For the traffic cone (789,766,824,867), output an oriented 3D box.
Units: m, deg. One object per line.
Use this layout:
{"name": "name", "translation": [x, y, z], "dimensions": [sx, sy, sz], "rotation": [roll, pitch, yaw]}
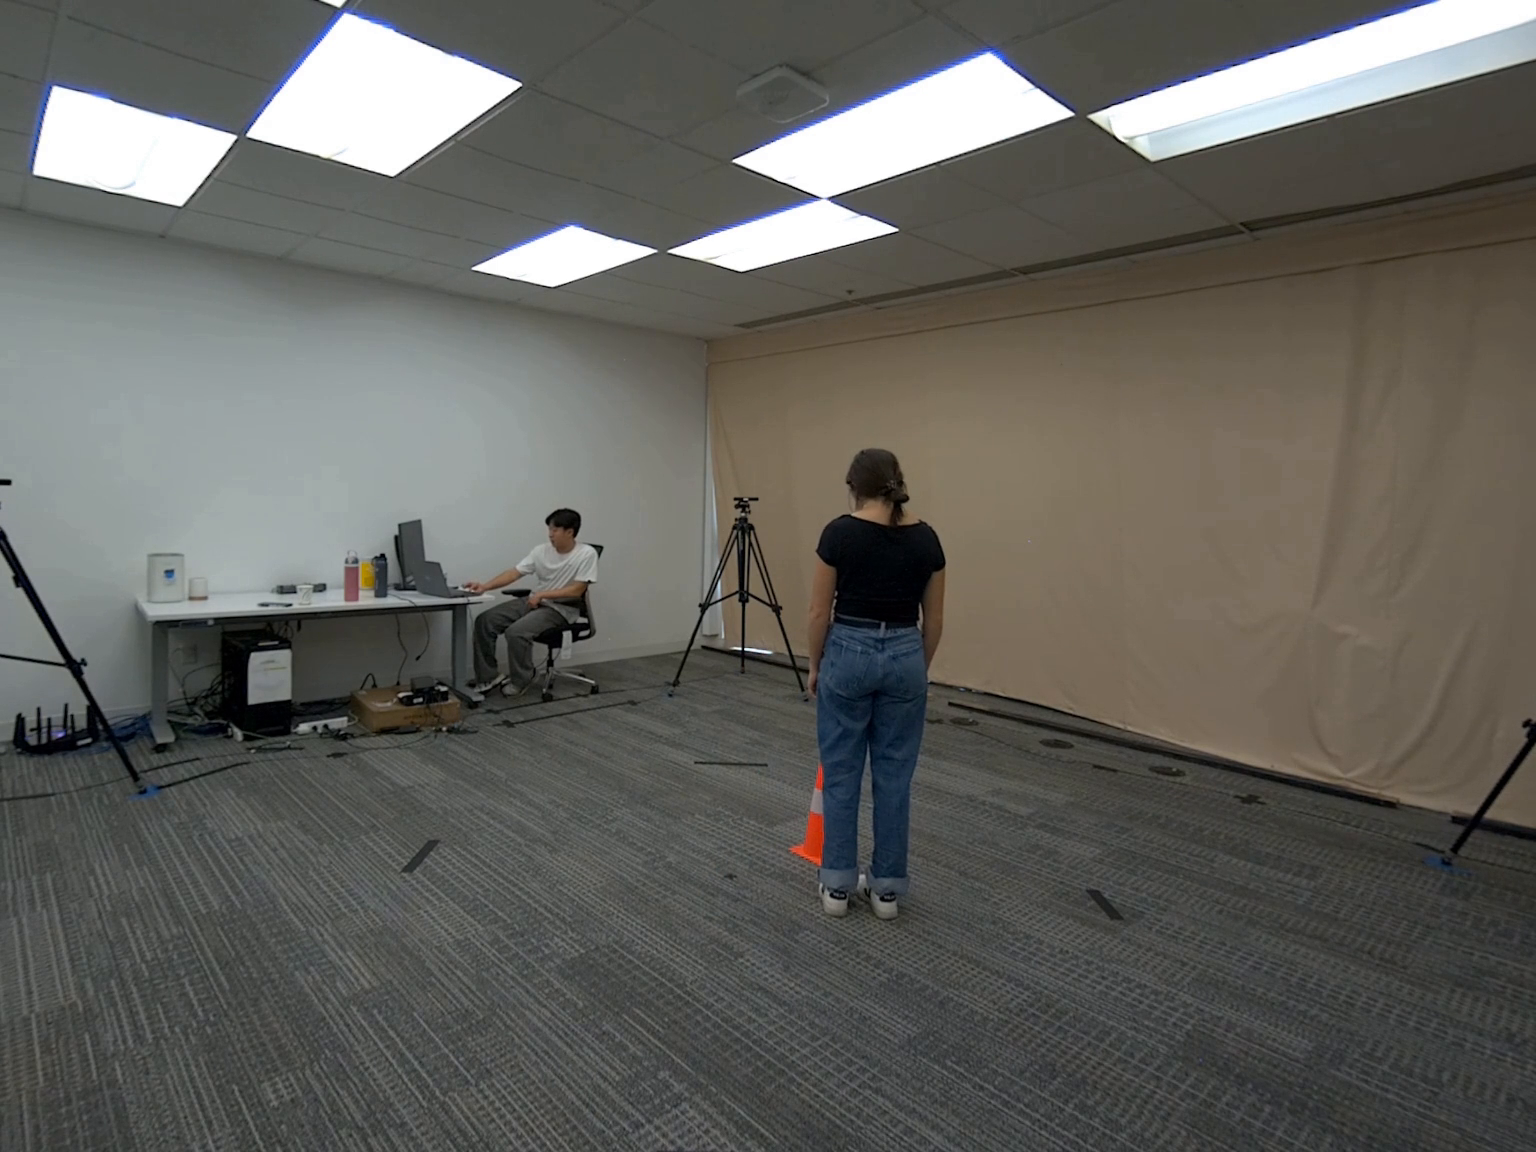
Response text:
{"name": "traffic cone", "translation": [0.210, 0.915, 3.334], "dimensions": [0.199, 0.383, 0.210], "rotation": [-3, 5, -41]}
